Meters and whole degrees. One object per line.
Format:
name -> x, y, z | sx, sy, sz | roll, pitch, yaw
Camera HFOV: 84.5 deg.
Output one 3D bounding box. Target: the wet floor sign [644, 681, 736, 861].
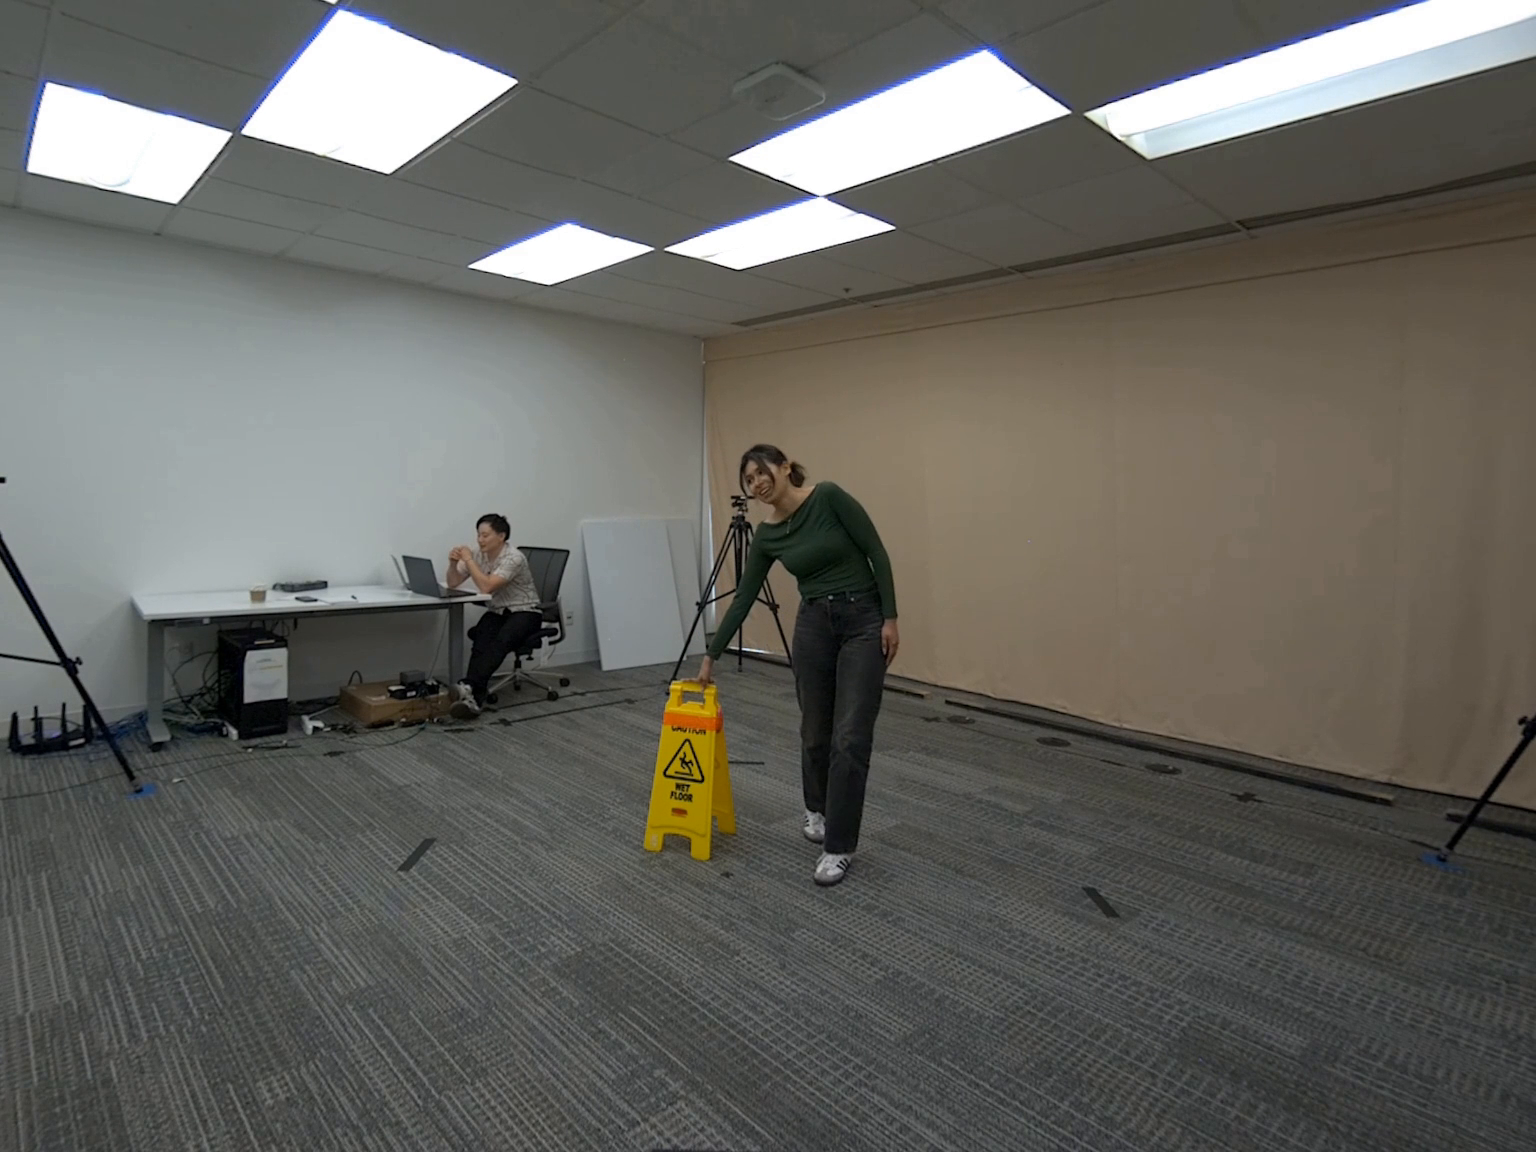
wet floor sign -> -0.309, 0.745, 3.384 | 0.287, 0.644, 0.286 | 2, 3, 20
